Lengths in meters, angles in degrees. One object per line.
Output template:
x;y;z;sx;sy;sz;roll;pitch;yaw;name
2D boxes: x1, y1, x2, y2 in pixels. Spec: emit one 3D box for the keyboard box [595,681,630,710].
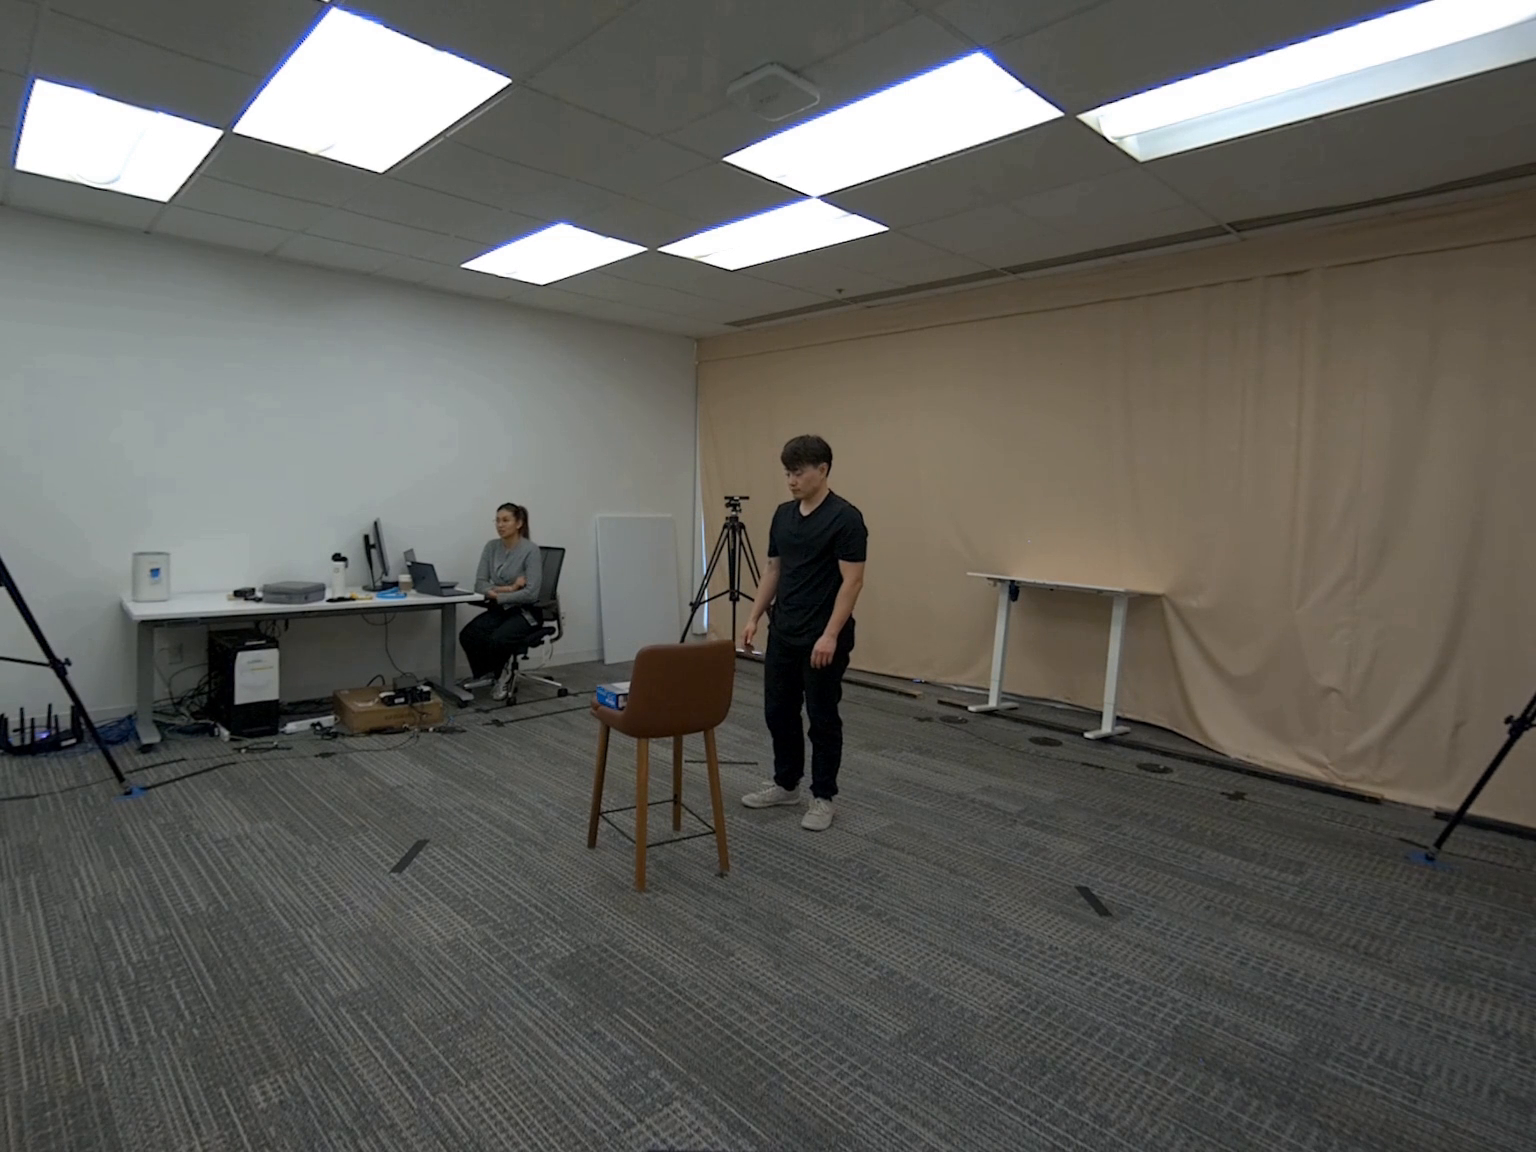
-0.430;0.444;3.234;0.427;0.059;0.180;-2;5;-33;keyboard box
